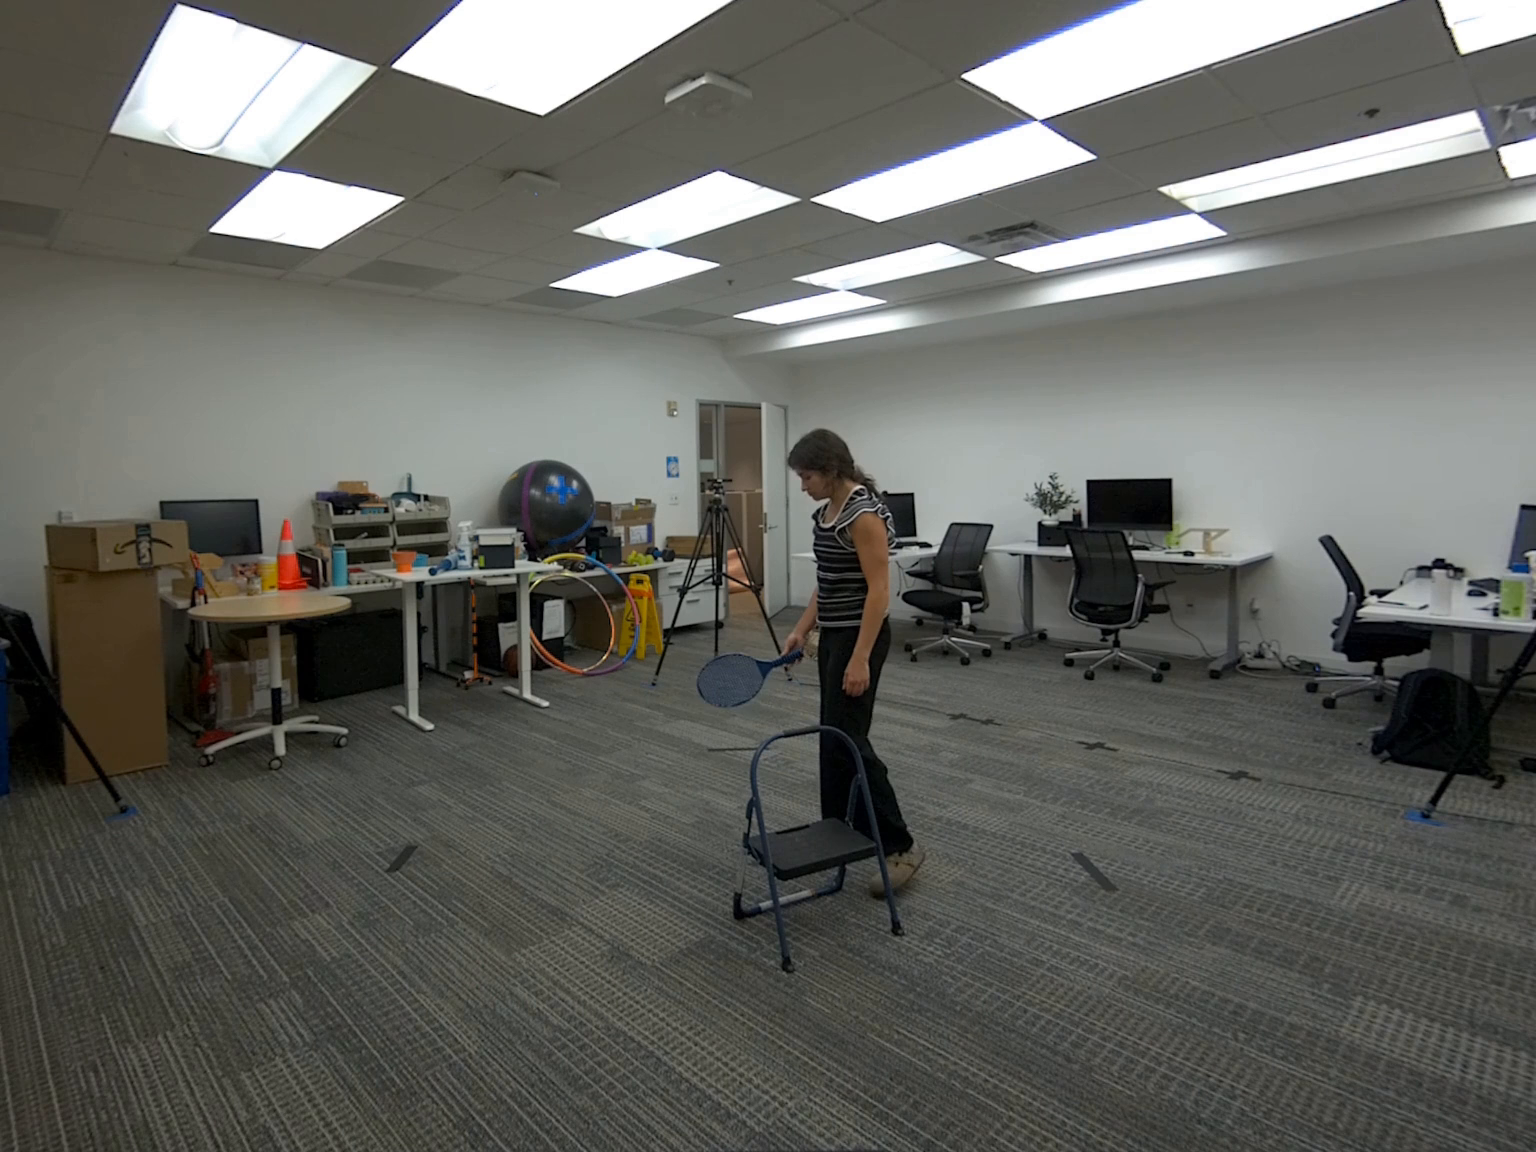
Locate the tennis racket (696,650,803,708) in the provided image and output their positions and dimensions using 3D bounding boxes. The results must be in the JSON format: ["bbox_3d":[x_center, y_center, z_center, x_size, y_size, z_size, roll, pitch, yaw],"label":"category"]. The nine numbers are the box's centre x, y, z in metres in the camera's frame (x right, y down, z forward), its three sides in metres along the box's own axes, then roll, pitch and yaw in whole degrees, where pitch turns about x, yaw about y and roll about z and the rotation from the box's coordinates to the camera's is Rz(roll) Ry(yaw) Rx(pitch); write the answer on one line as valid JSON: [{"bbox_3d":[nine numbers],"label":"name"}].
[{"bbox_3d":[-0.057,0.372,3.263,0.435,0.211,0.032,-23,10,8],"label":"tennis racket"}]
